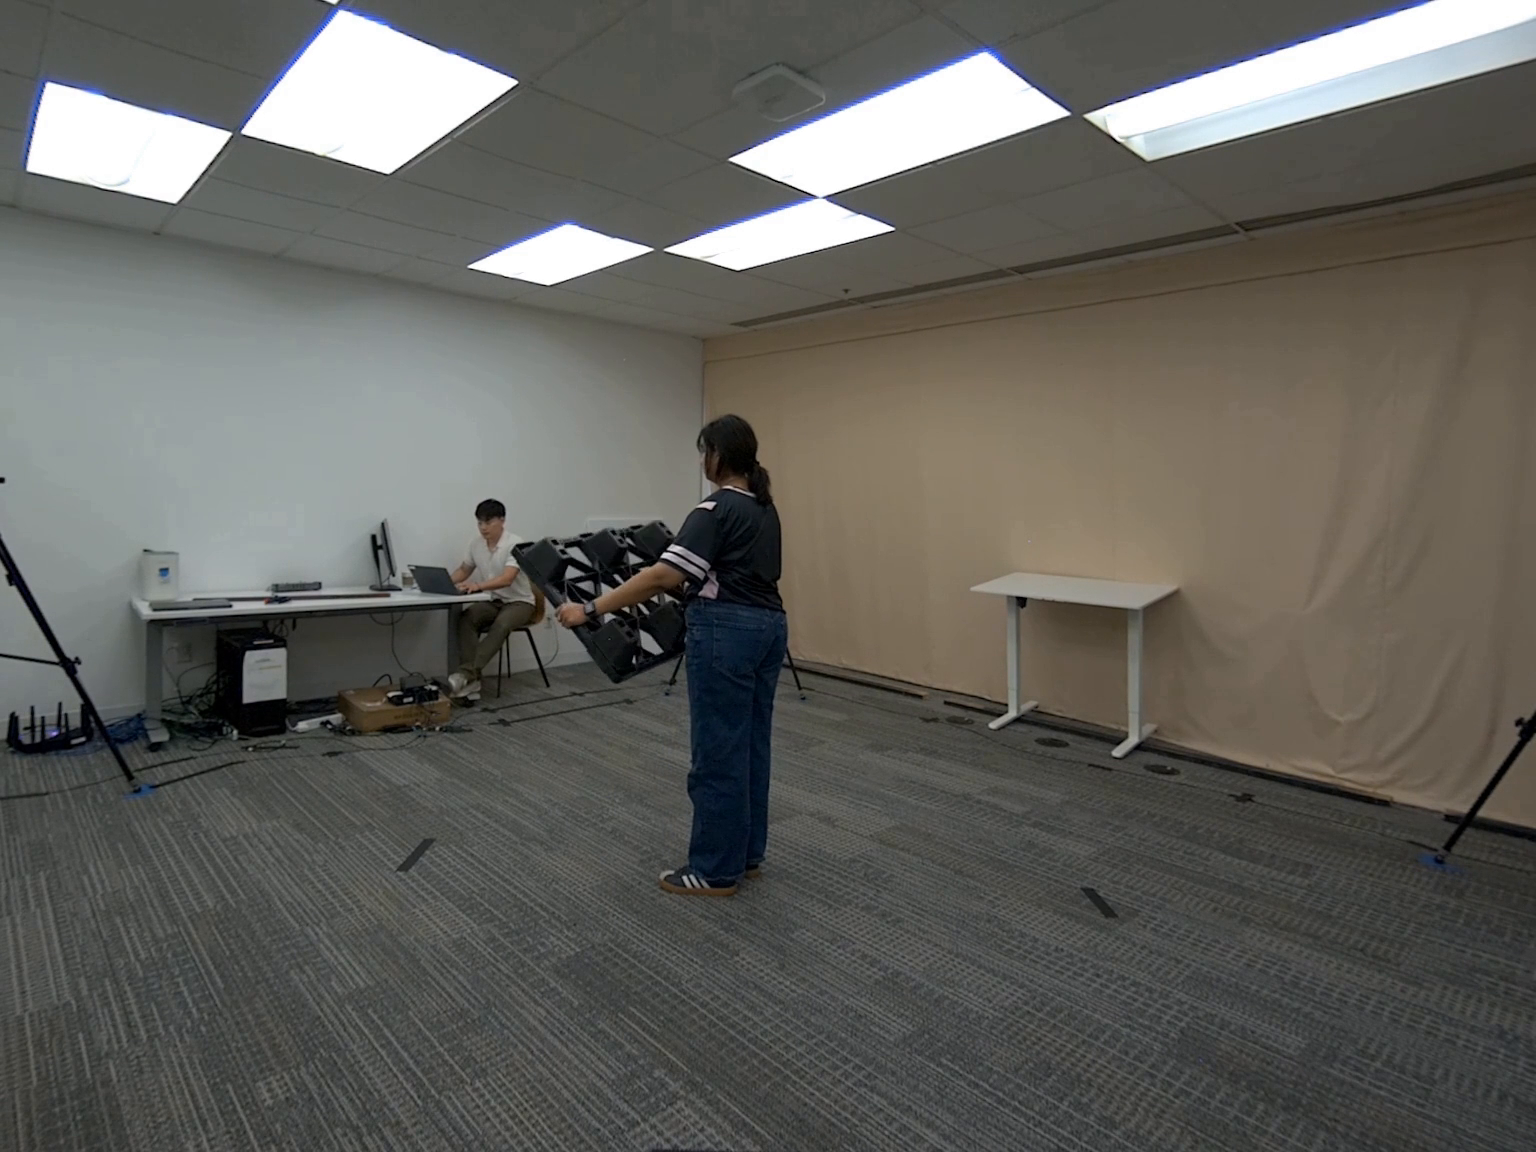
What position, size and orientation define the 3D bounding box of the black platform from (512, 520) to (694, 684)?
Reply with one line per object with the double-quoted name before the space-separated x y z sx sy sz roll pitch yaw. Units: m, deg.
"black platform" -0.487 0.035 3.123 0.614 0.143 0.794 48 25 13
